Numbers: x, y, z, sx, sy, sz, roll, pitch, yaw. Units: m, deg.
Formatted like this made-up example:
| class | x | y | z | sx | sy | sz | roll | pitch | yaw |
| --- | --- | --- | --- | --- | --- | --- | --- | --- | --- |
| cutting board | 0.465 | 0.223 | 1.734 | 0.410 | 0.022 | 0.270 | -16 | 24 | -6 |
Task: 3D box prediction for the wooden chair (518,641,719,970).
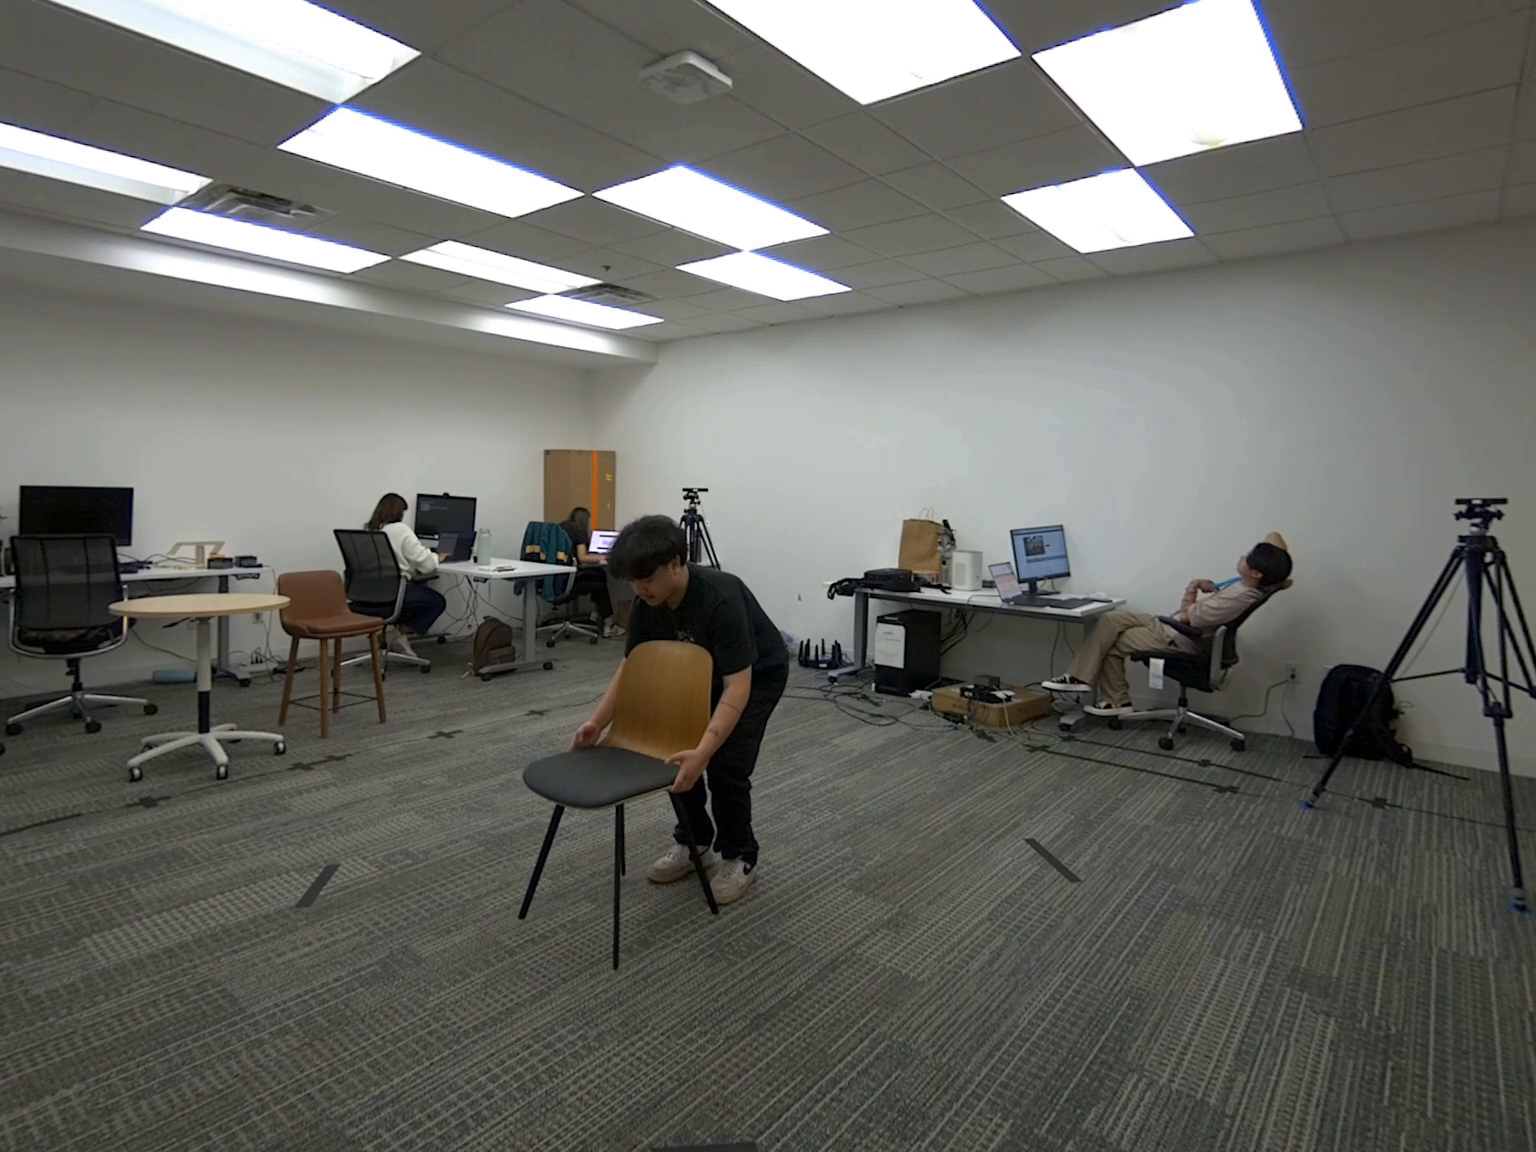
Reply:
| class | x | y | z | sx | sy | sz | roll | pitch | yaw |
| --- | --- | --- | --- | --- | --- | --- | --- | --- | --- |
| wooden chair | -0.475 | 0.654 | 2.678 | 0.494 | 0.879 | 0.505 | 3 | -2 | 38 |
